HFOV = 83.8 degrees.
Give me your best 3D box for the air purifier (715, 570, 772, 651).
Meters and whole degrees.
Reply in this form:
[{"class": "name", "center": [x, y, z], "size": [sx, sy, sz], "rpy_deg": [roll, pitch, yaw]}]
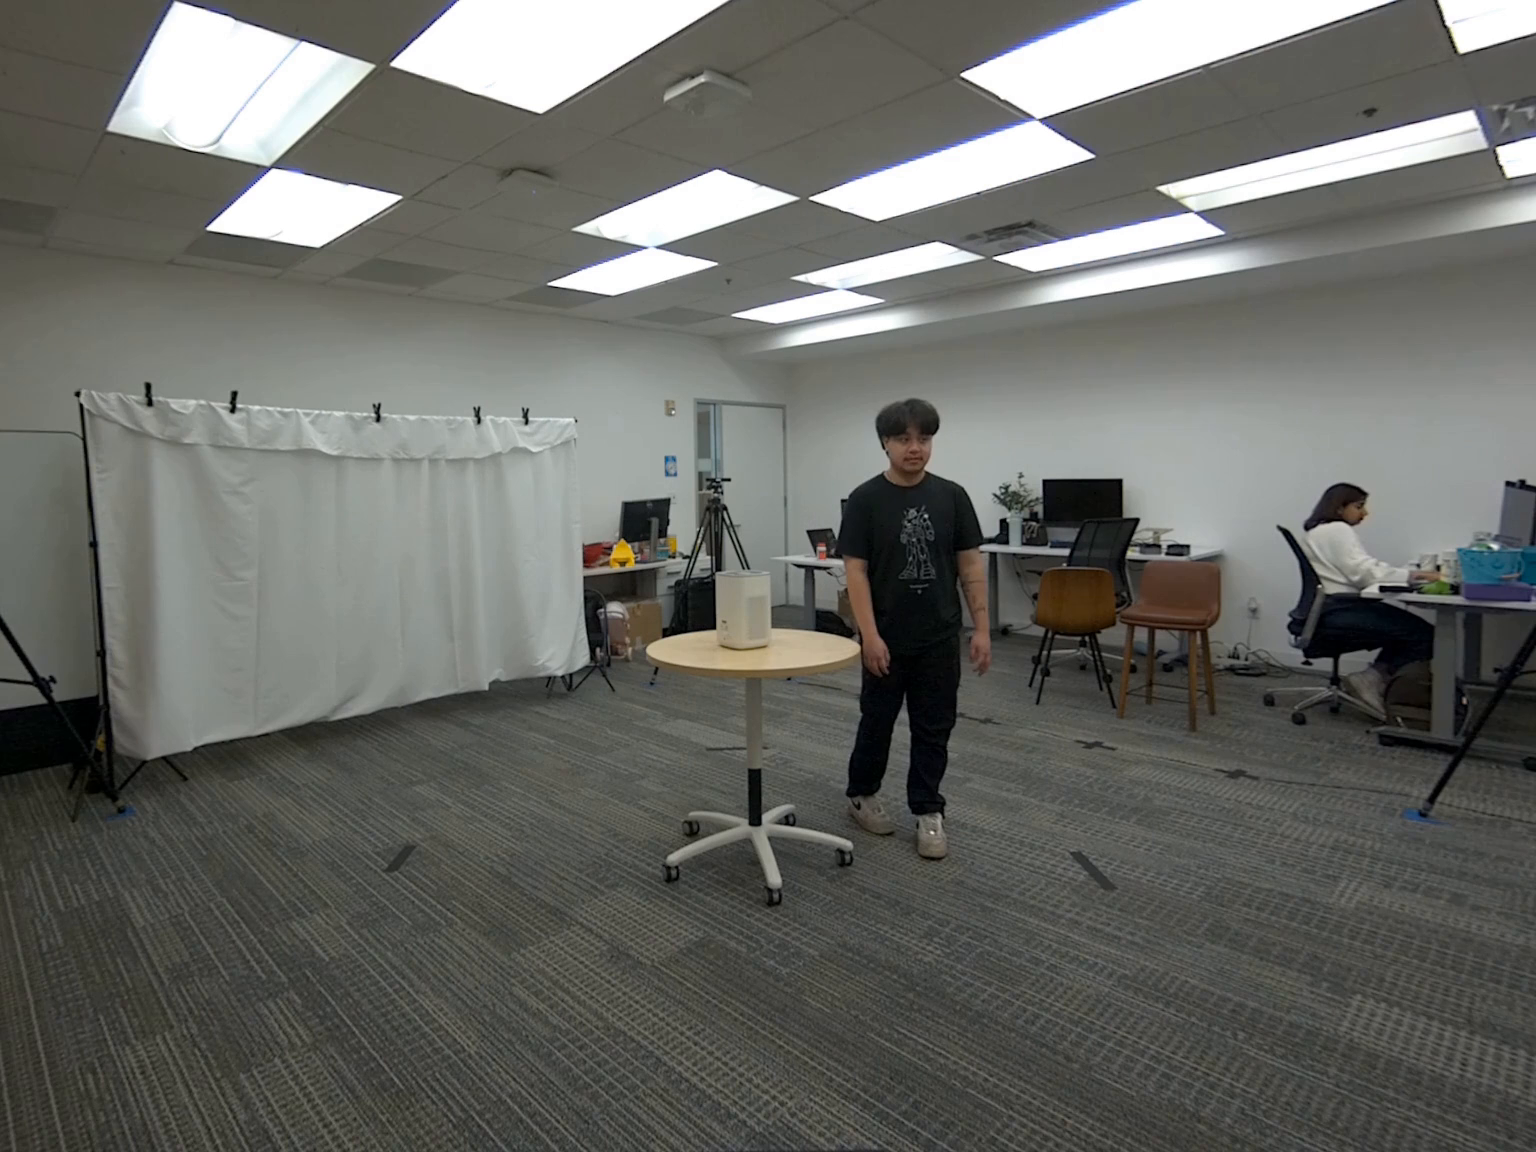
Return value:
[{"class": "air purifier", "center": [-0.085, 0.118, 3.079], "size": [0.167, 0.264, 0.176], "rpy_deg": [-3, 5, -38]}]
